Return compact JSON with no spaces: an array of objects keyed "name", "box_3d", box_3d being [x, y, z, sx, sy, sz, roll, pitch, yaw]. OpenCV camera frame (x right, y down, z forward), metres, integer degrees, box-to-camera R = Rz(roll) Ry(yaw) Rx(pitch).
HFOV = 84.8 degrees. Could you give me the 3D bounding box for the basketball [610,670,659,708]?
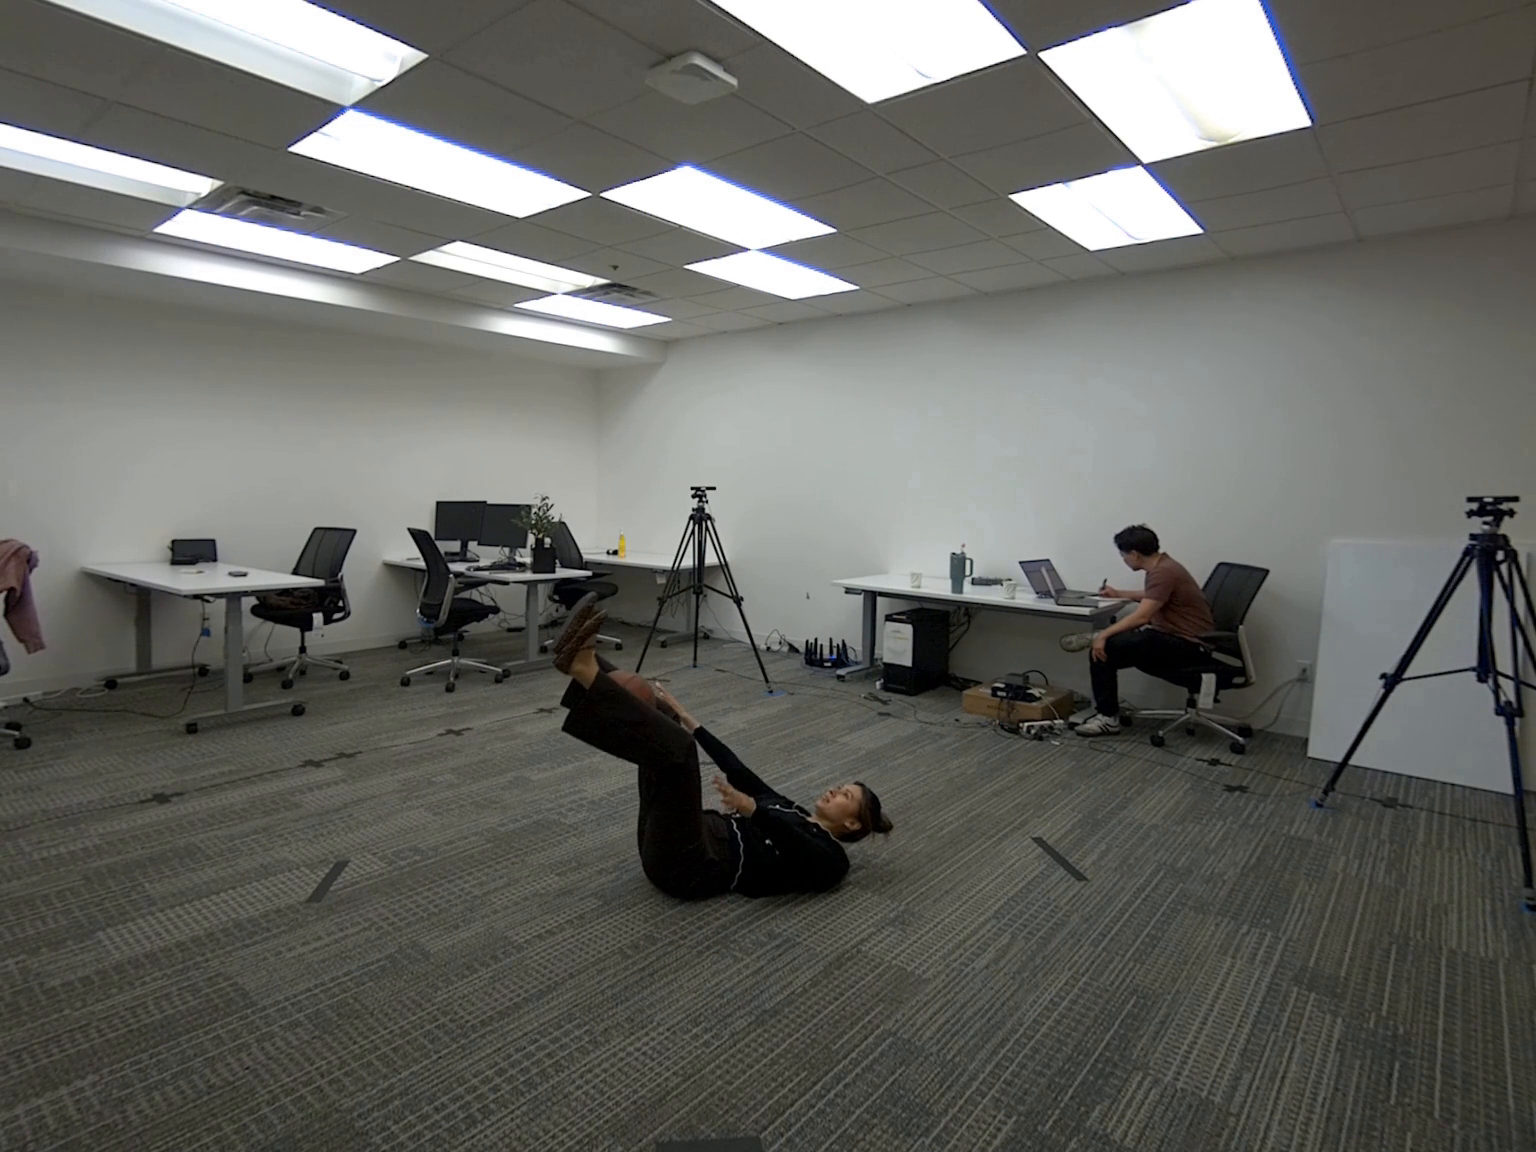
[{"name":"basketball","box_3d":[-0.509,0.447,2.915,0.236,0.235,0.237,1,4,-2]}]
